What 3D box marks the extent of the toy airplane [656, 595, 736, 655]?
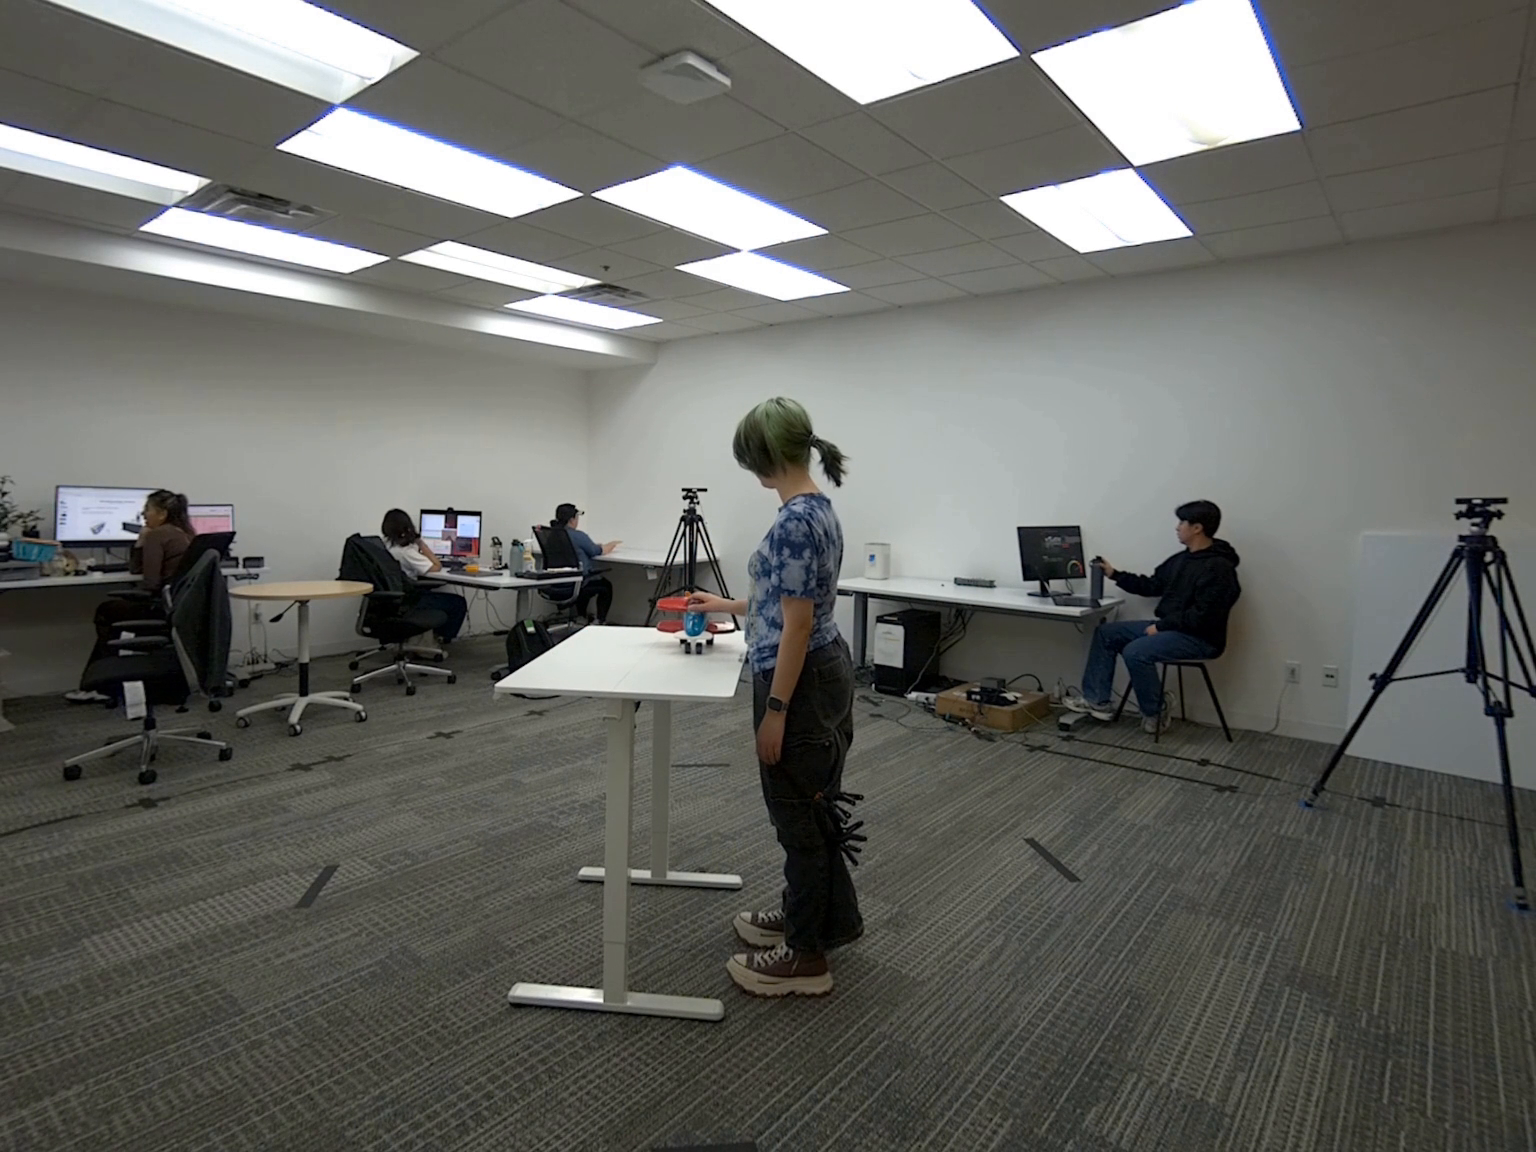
[{"bbox_3d":[-0.220,0.154,2.709,0.244,0.156,0.267,0,5,-28],"label":"toy airplane"}]
